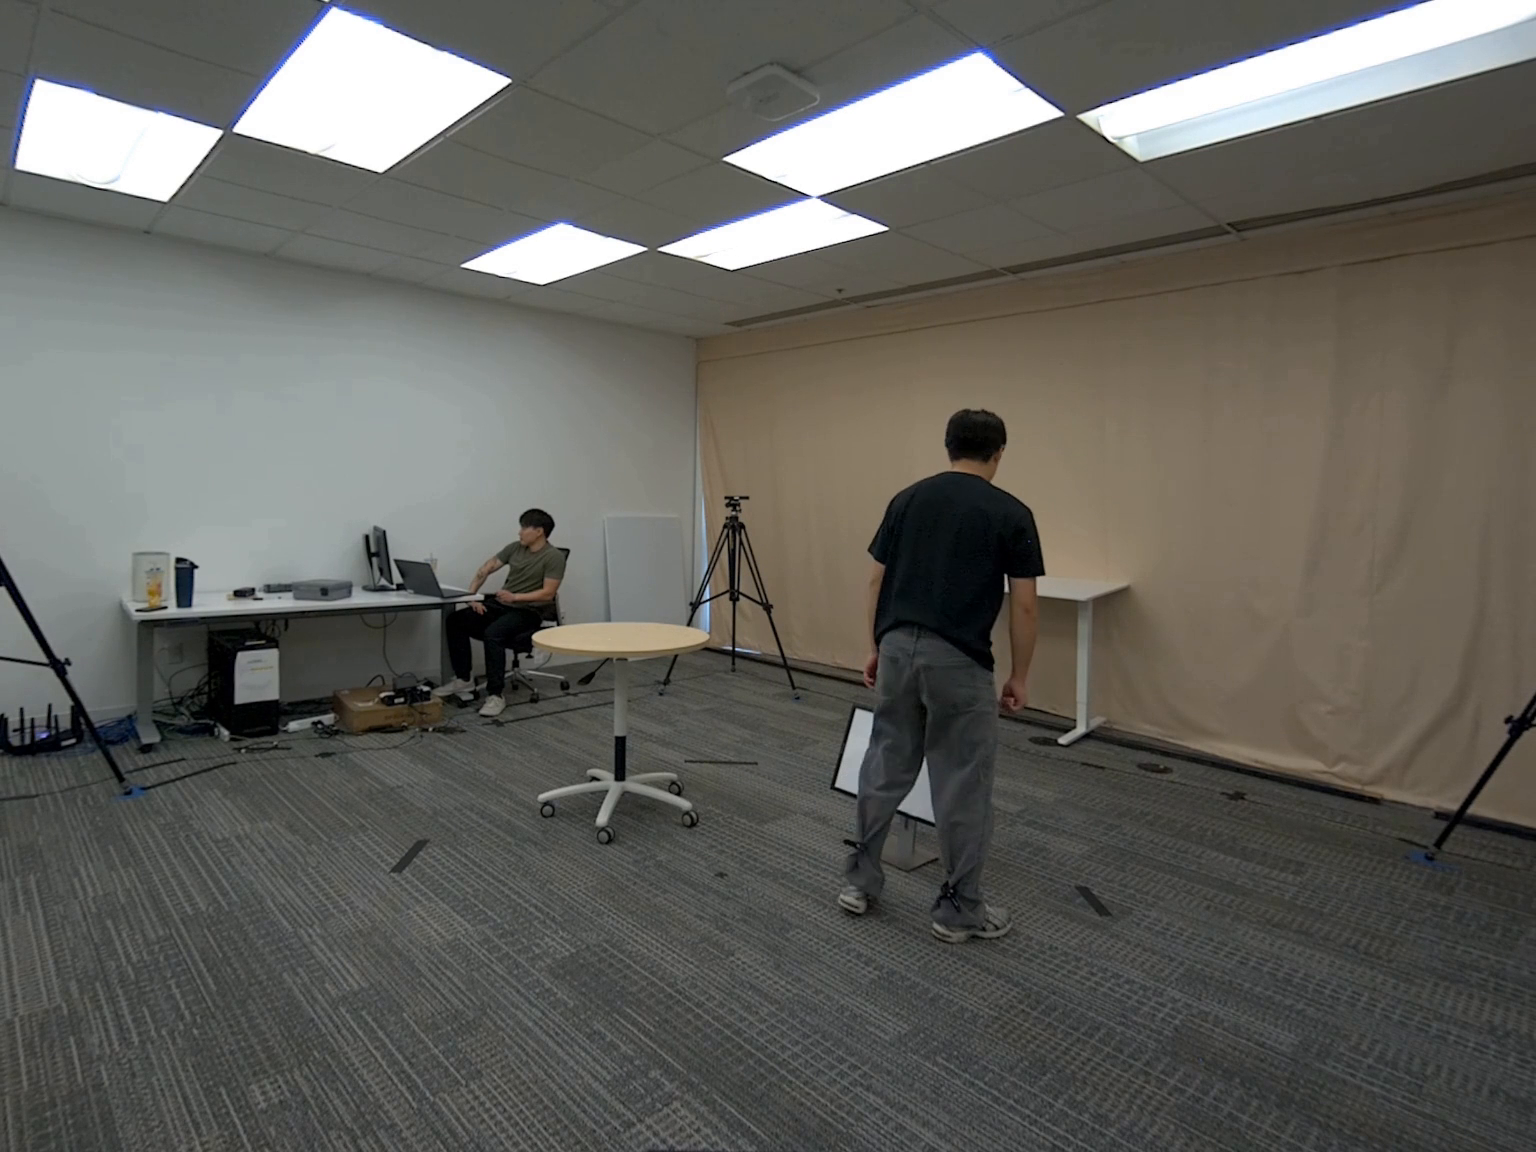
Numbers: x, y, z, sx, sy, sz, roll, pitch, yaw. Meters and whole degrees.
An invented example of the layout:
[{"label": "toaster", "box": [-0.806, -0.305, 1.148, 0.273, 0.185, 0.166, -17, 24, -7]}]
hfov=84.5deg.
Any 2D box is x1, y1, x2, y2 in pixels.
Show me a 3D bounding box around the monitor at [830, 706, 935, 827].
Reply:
[{"label": "monitor", "box": [0.526, 0.841, 3.303, 0.217, 0.565, 0.576, 1, 3, -41]}]
